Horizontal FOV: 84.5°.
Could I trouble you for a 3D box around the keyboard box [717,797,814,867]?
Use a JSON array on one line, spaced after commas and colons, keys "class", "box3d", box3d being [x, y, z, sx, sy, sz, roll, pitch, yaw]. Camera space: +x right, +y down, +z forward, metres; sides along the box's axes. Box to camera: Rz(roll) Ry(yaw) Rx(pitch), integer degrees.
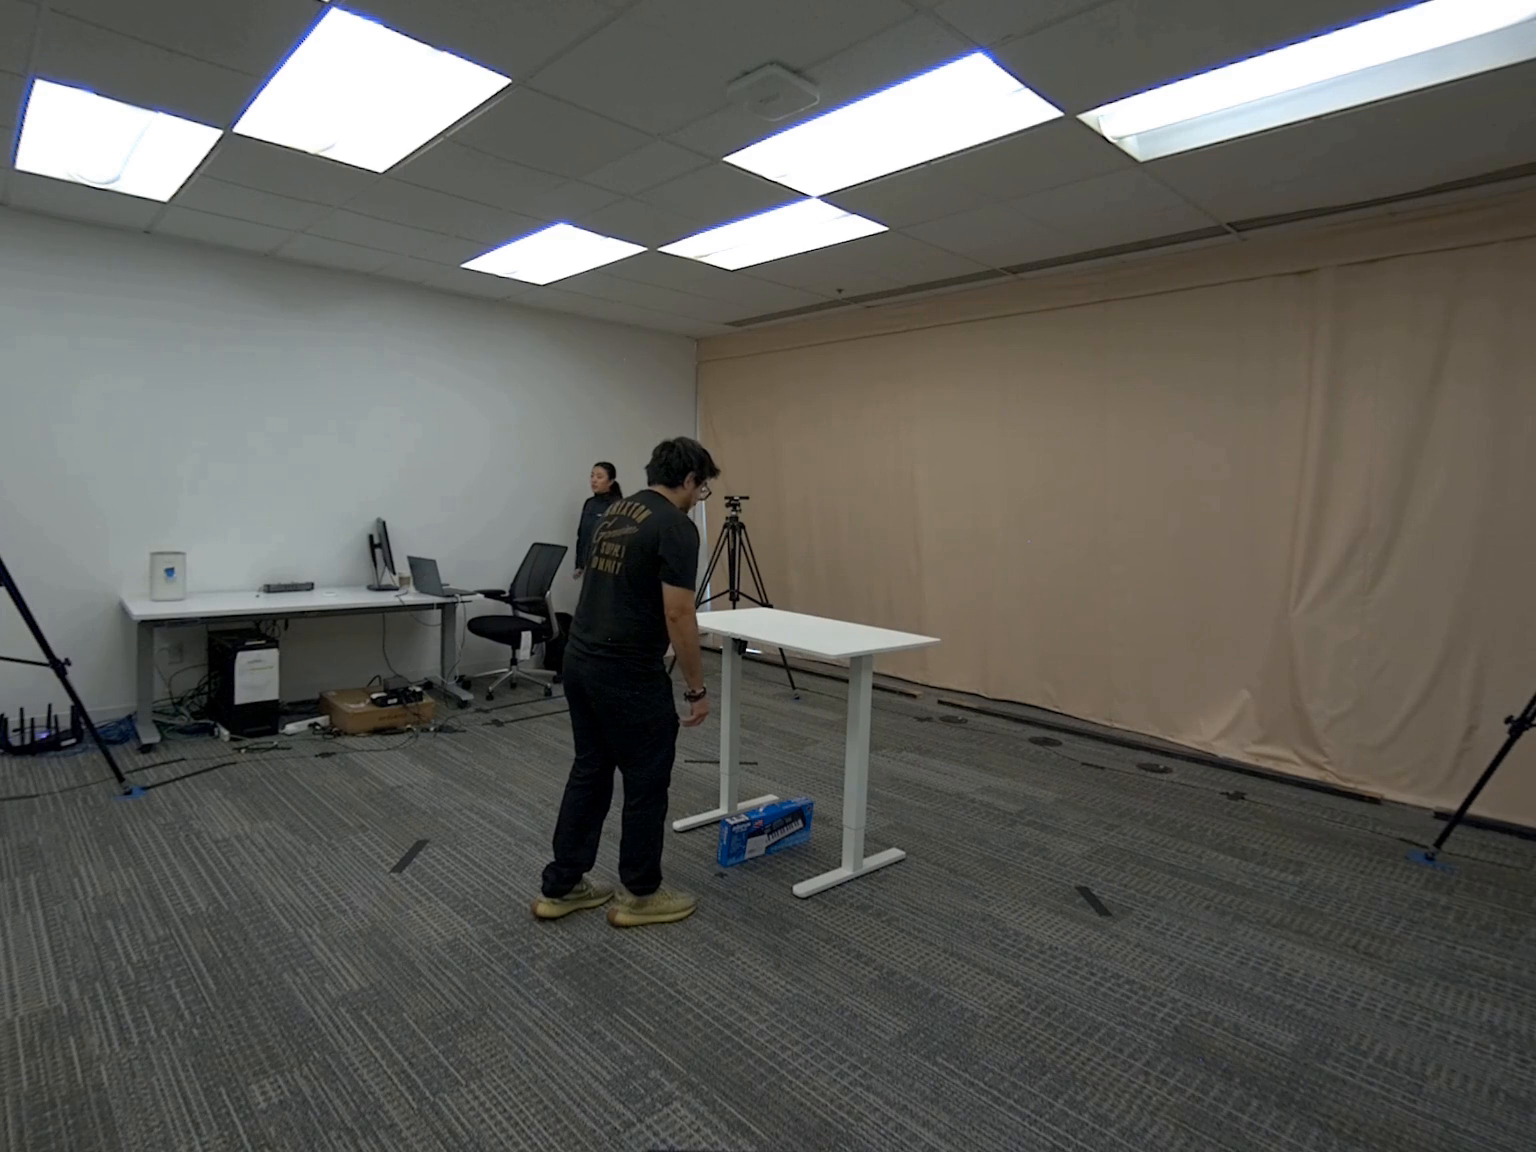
[{"class": "keyboard box", "box3d": [-0.013, 1.002, 3.308, 0.427, 0.175, 0.061, -3, 12, -40]}]
